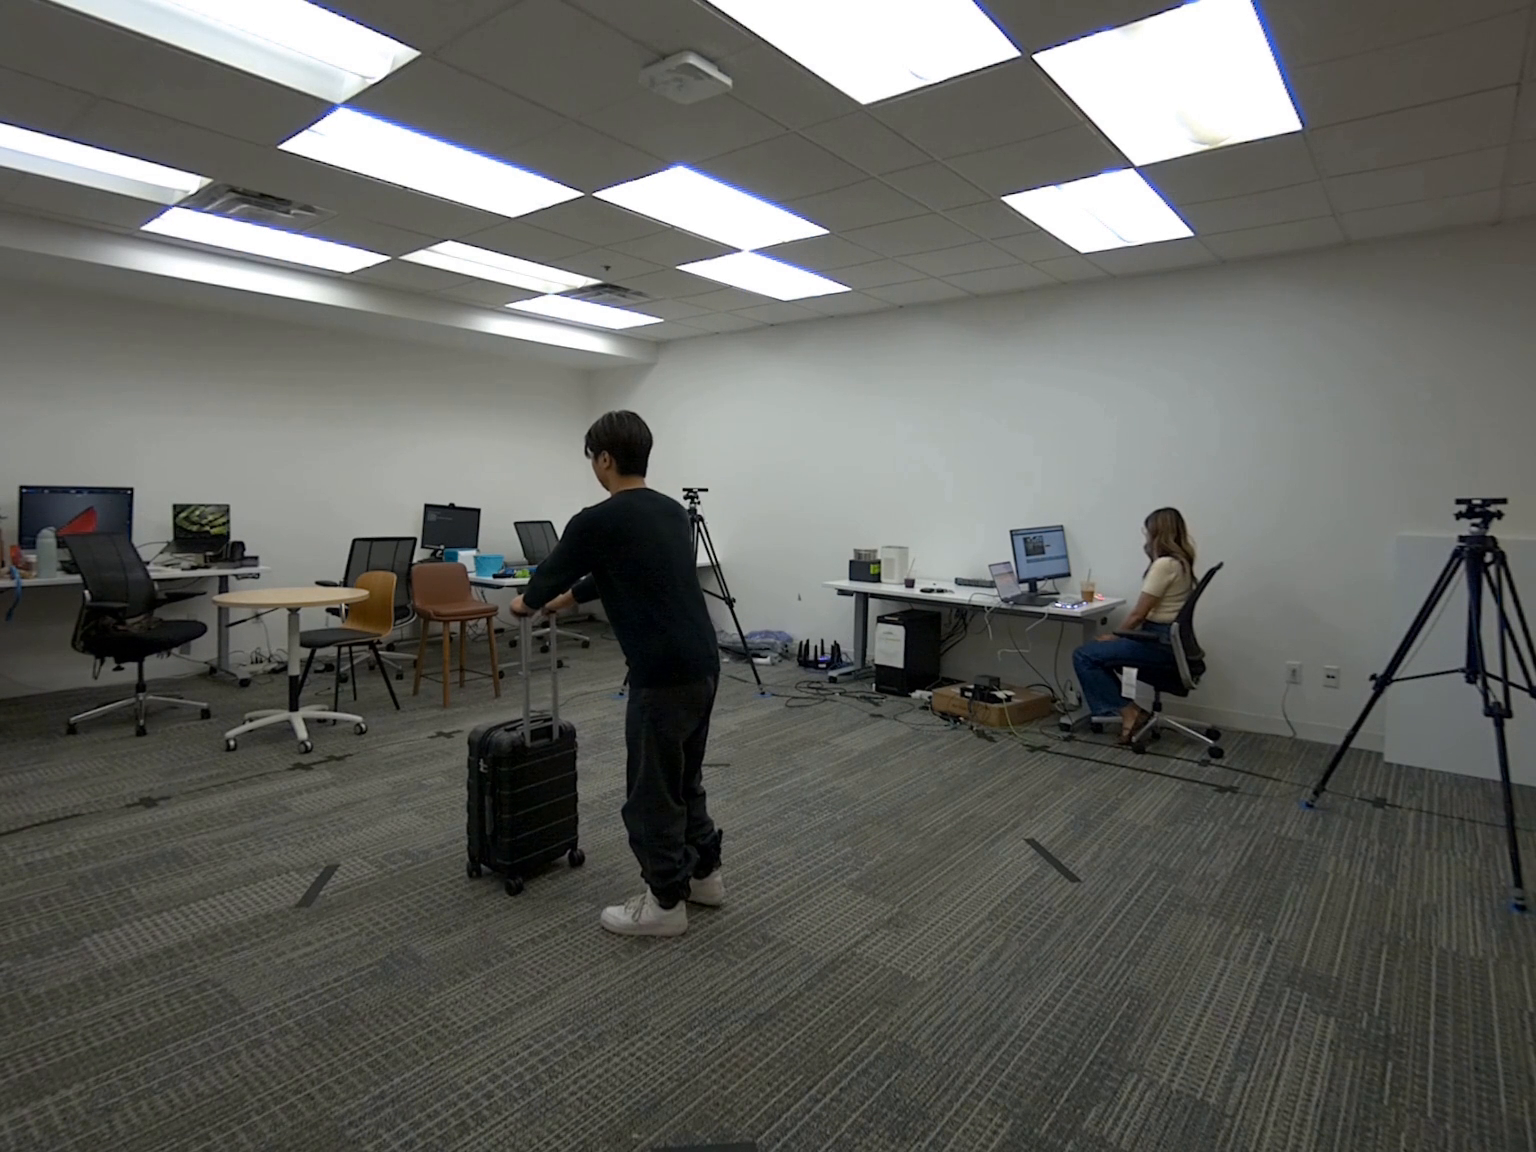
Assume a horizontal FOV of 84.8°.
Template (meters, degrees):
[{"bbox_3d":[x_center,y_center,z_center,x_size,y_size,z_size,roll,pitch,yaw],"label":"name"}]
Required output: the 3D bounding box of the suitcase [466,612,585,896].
[{"bbox_3d":[-0.911,0.588,3.078,0.264,0.978,0.373,-2,1,35],"label":"suitcase"}]
